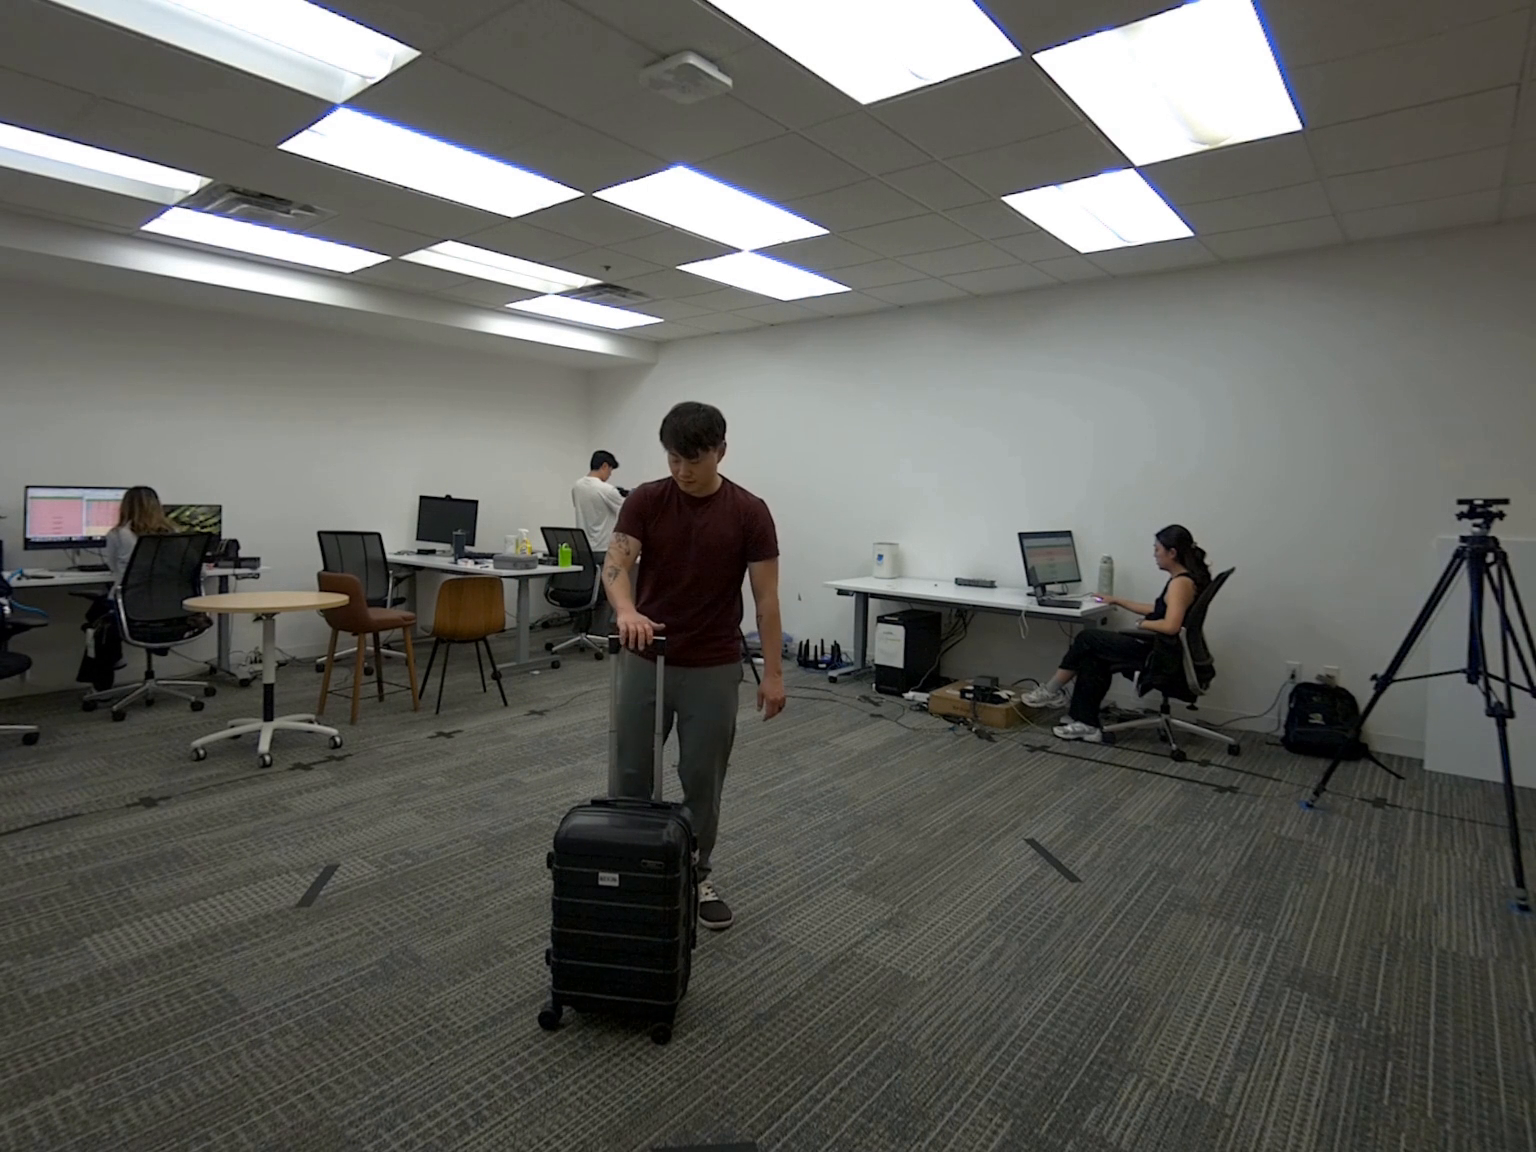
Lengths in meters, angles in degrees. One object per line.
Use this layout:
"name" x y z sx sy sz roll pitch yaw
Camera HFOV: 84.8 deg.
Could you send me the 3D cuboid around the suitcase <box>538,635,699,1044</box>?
"suitcase" -0.388 0.680 2.231 0.387 0.974 0.256 2 5 5
